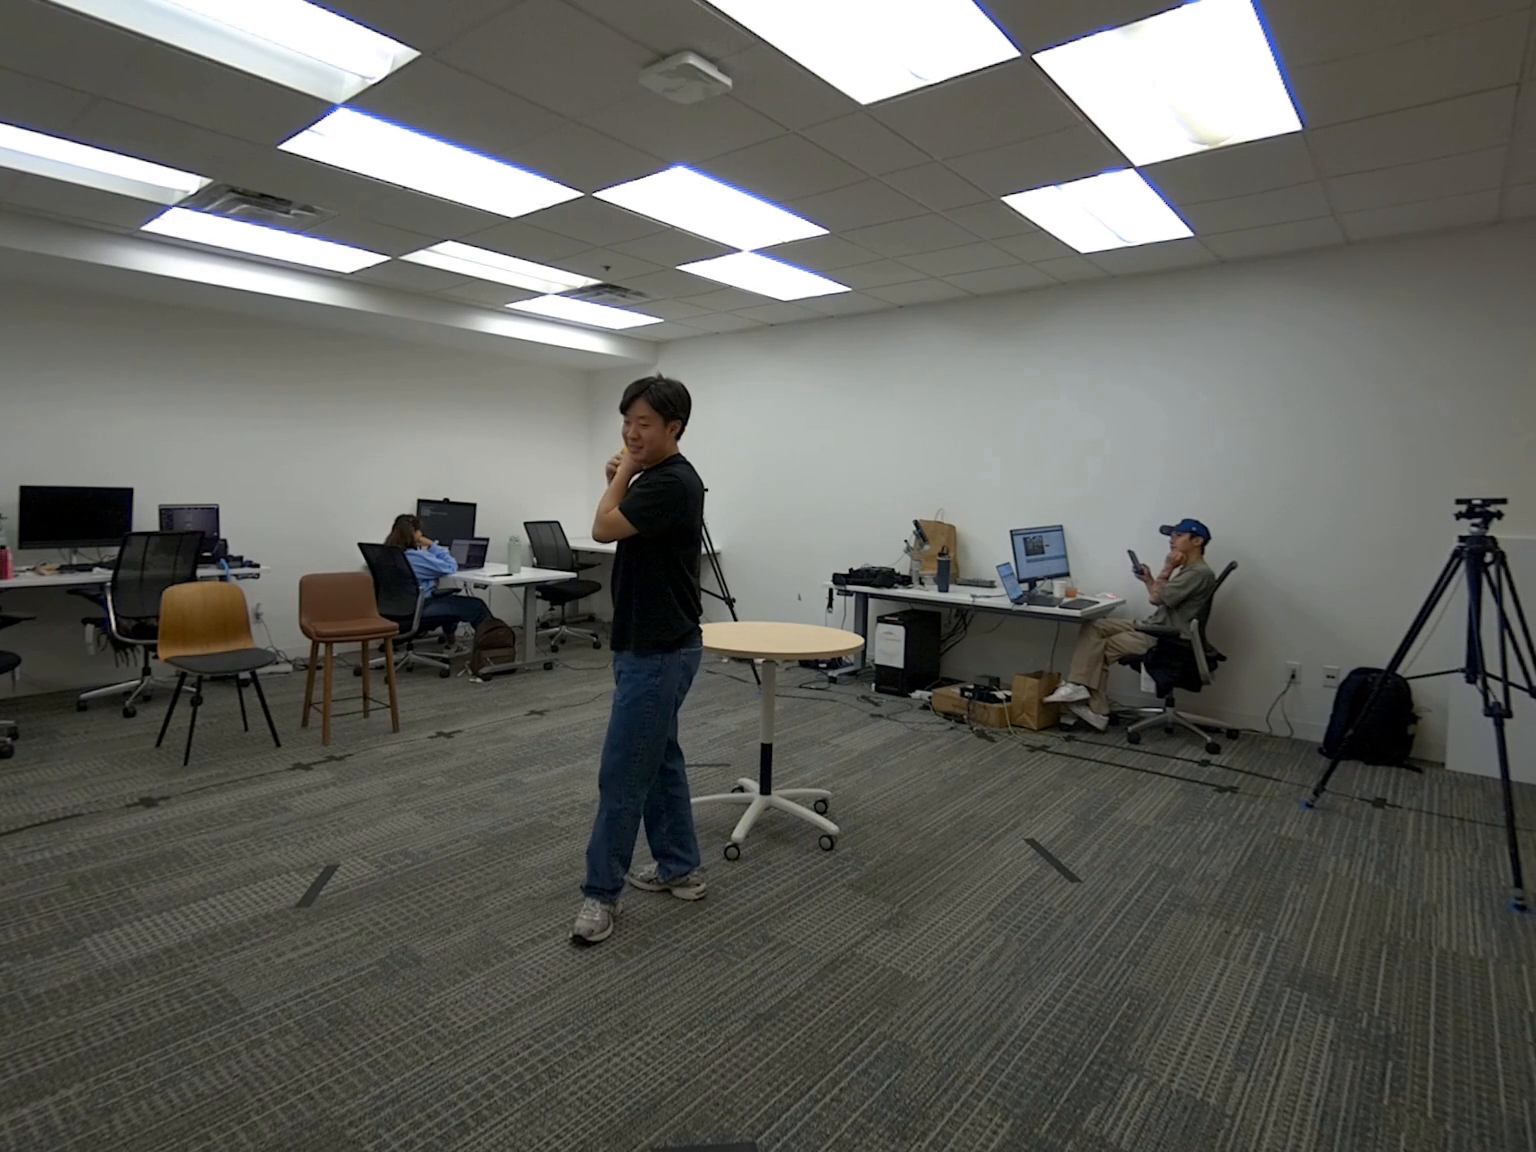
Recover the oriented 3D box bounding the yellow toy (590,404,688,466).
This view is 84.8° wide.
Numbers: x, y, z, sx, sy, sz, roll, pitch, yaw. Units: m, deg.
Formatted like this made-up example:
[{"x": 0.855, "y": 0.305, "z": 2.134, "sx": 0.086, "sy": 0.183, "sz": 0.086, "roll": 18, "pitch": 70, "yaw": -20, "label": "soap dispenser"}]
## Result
[{"x": -0.445, "y": -0.492, "z": 2.899, "sx": 0.211, "sy": 0.227, "sz": 0.190, "roll": -3, "pitch": 18, "yaw": 45, "label": "yellow toy"}]
